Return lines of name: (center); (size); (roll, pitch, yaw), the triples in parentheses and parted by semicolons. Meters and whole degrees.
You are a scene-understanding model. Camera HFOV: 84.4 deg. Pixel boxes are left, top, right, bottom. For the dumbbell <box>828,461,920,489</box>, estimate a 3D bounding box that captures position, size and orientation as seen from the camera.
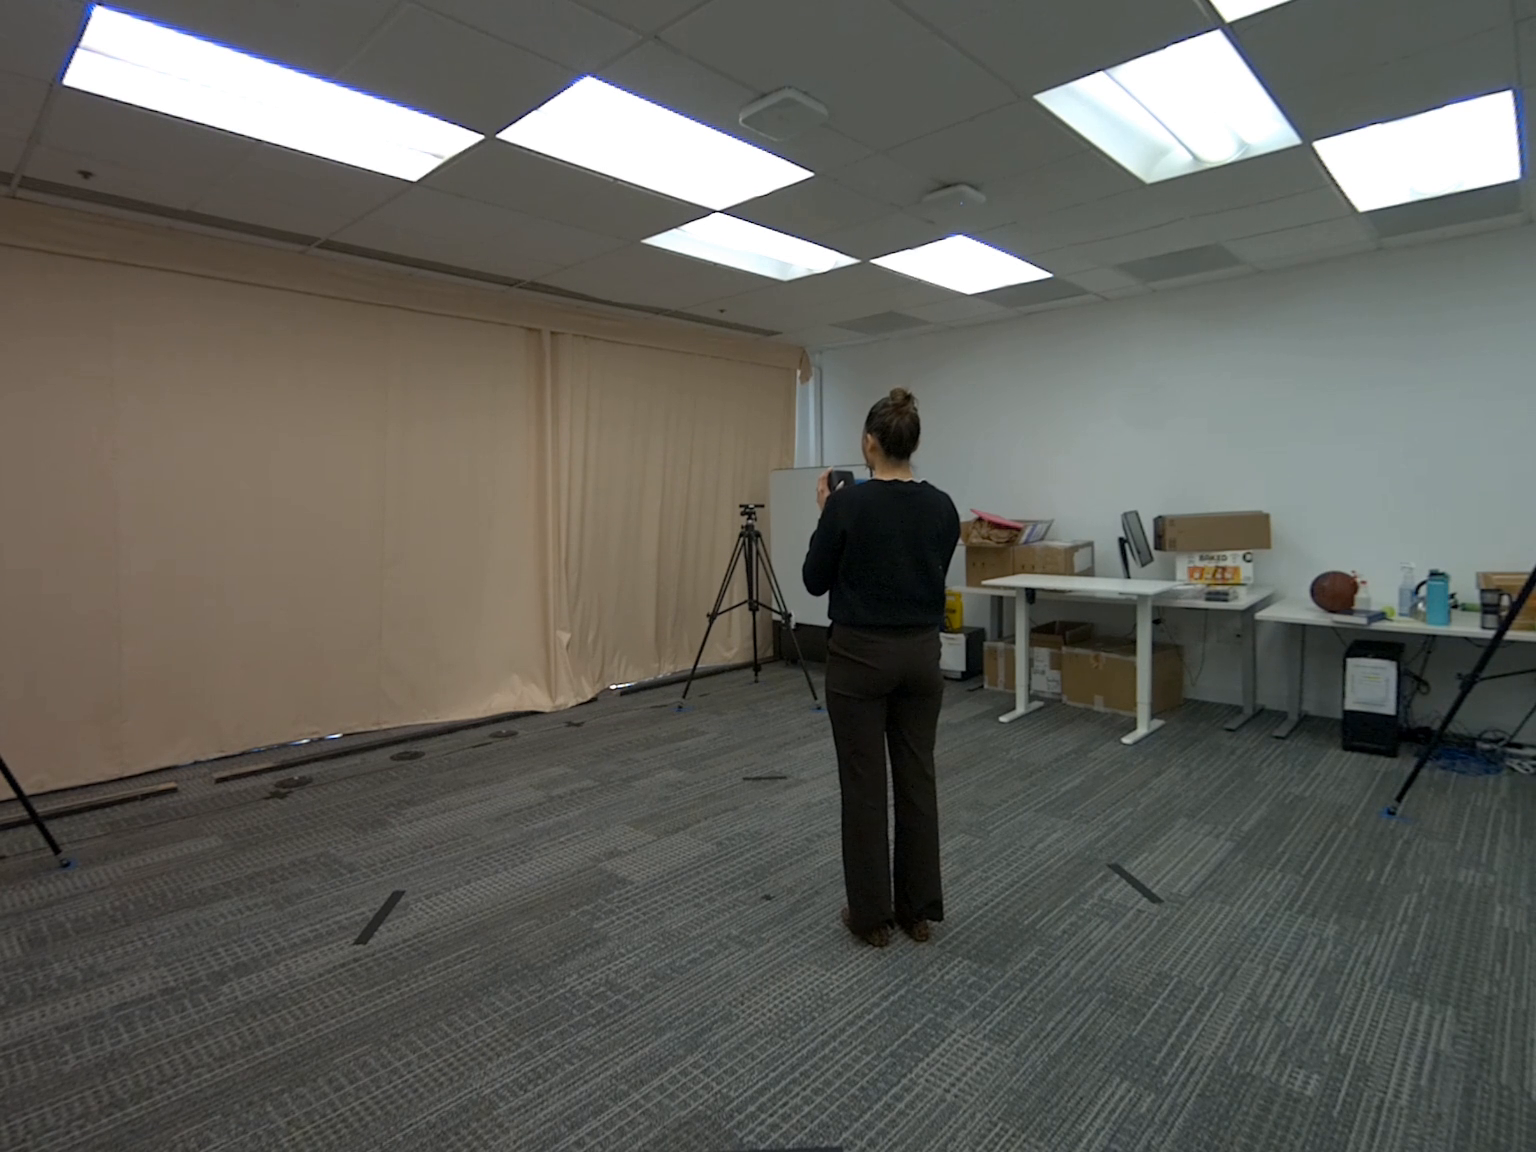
dumbbell: (0.348, -0.290, 2.811); (0.288, 0.126, 0.108); (2, -37, -18)
